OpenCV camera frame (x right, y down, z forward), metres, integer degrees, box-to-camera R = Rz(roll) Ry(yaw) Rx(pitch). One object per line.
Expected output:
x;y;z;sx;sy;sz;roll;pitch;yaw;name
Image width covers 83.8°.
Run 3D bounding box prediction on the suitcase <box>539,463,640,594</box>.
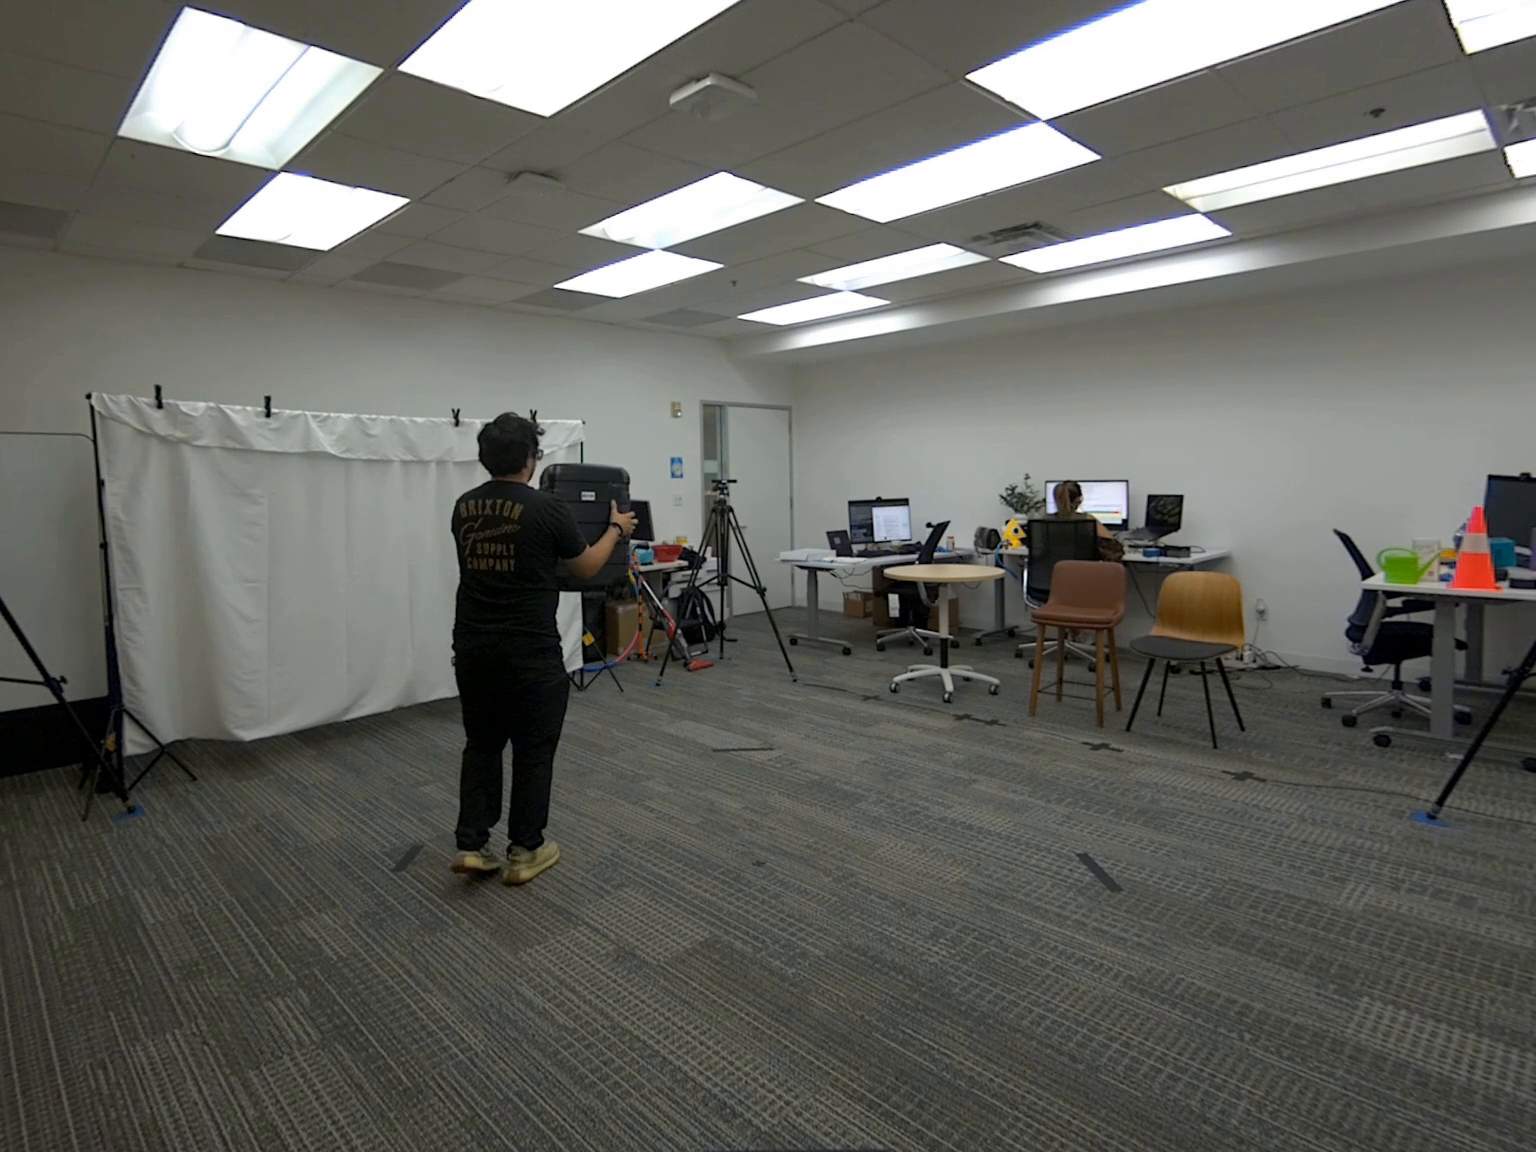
-0.741;-0.178;3.424;0.367;0.550;0.253;2;-2;-24;suitcase
